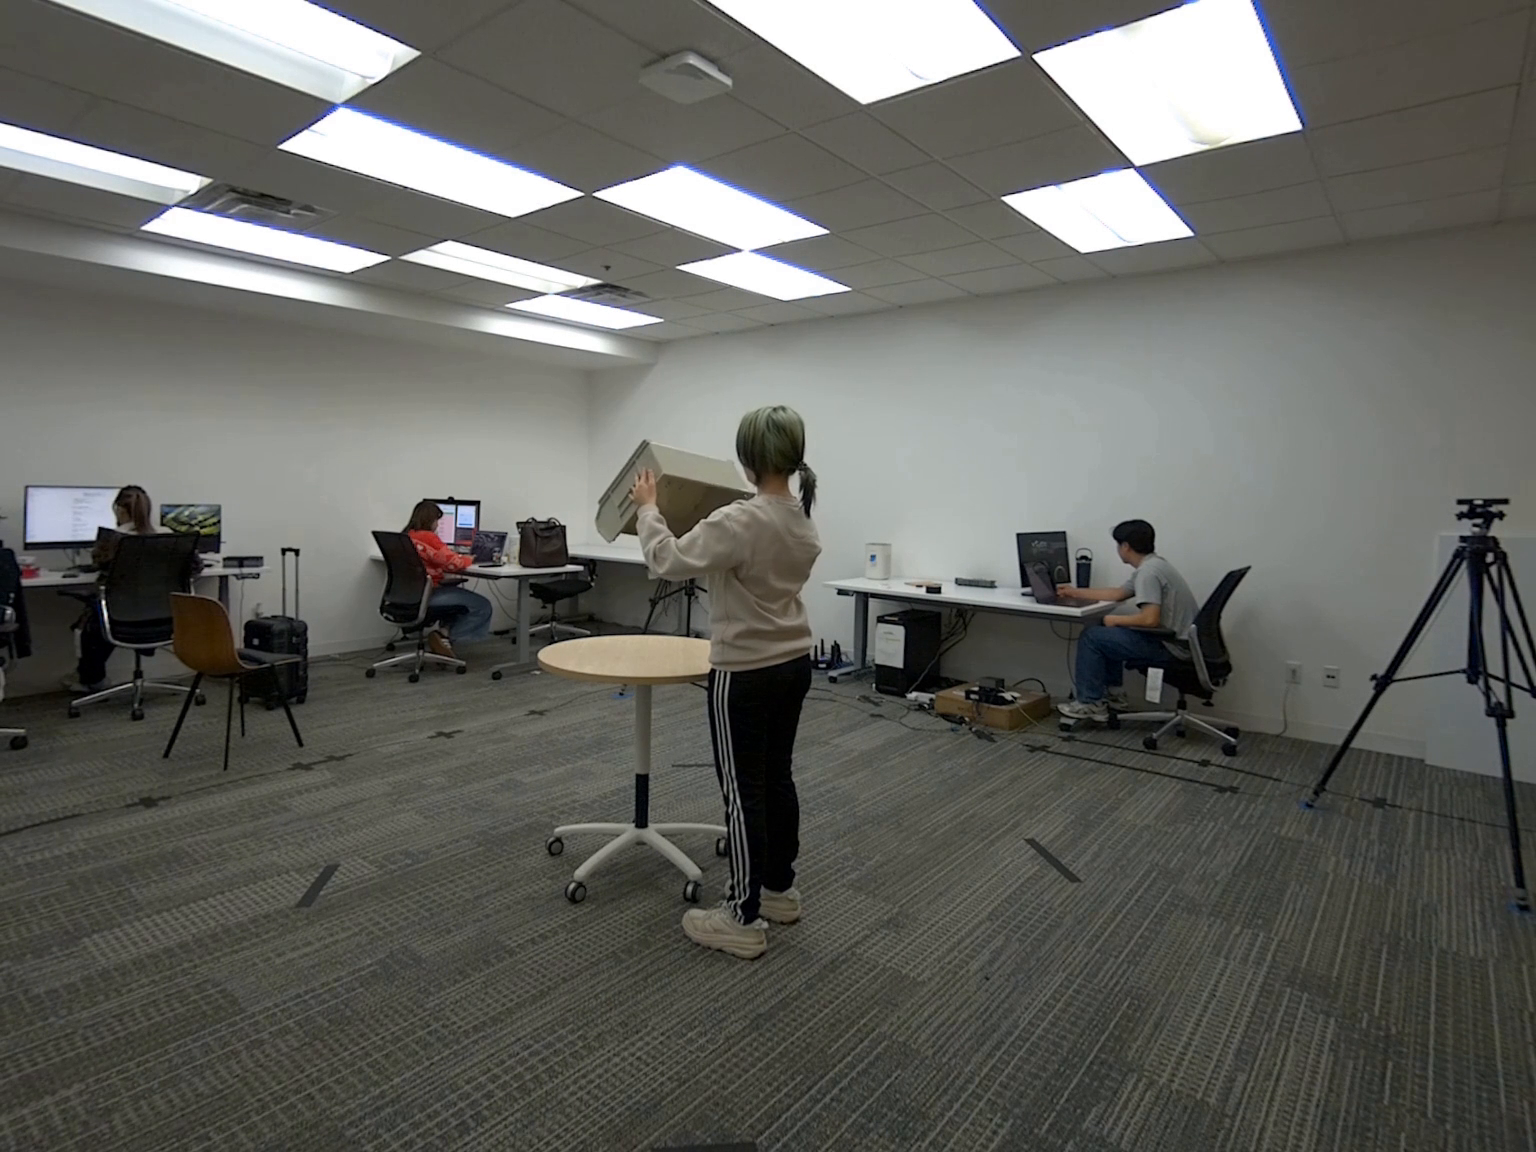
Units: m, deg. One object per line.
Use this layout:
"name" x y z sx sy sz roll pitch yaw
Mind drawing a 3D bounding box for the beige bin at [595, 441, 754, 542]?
"beige bin" -0.339 -0.259 2.974 0.407 0.196 0.377 9 -47 -43
